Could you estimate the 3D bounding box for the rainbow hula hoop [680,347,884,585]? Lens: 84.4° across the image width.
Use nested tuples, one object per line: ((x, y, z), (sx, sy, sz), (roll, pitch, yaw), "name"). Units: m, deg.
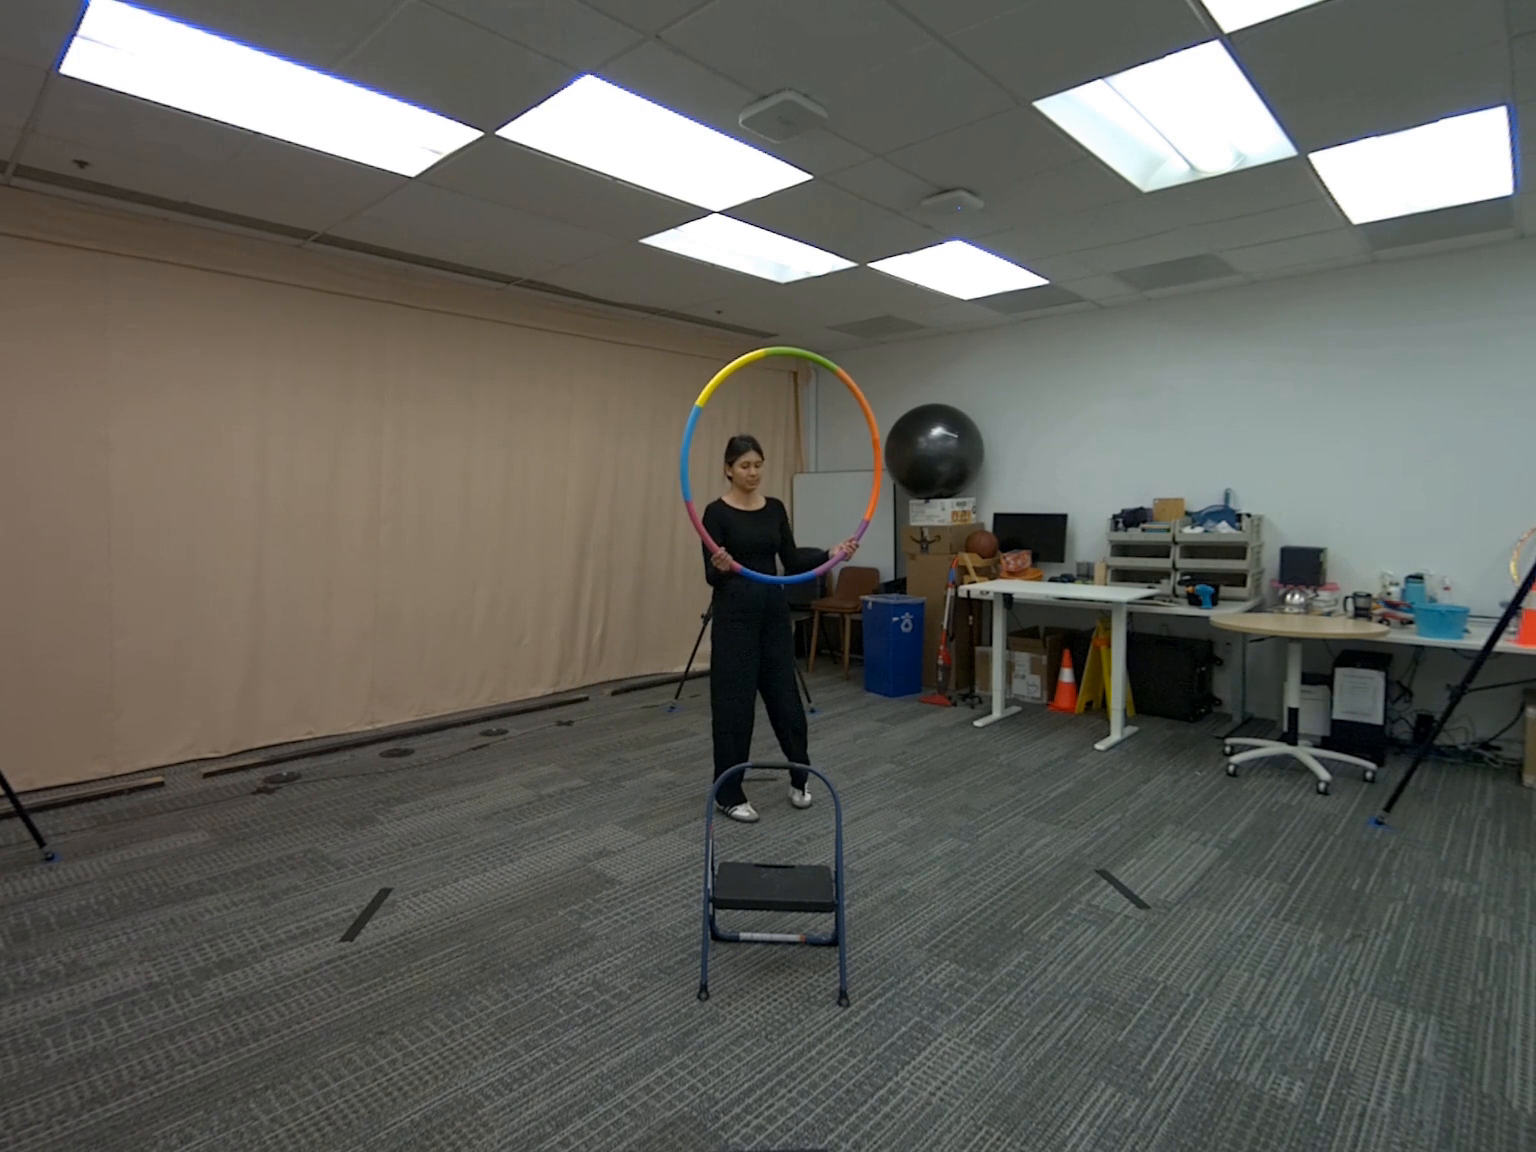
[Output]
((0.091, -0.453, 3.528), (0.953, 0.976, 0.036), (-2, 5, -29), "rainbow hula hoop")
